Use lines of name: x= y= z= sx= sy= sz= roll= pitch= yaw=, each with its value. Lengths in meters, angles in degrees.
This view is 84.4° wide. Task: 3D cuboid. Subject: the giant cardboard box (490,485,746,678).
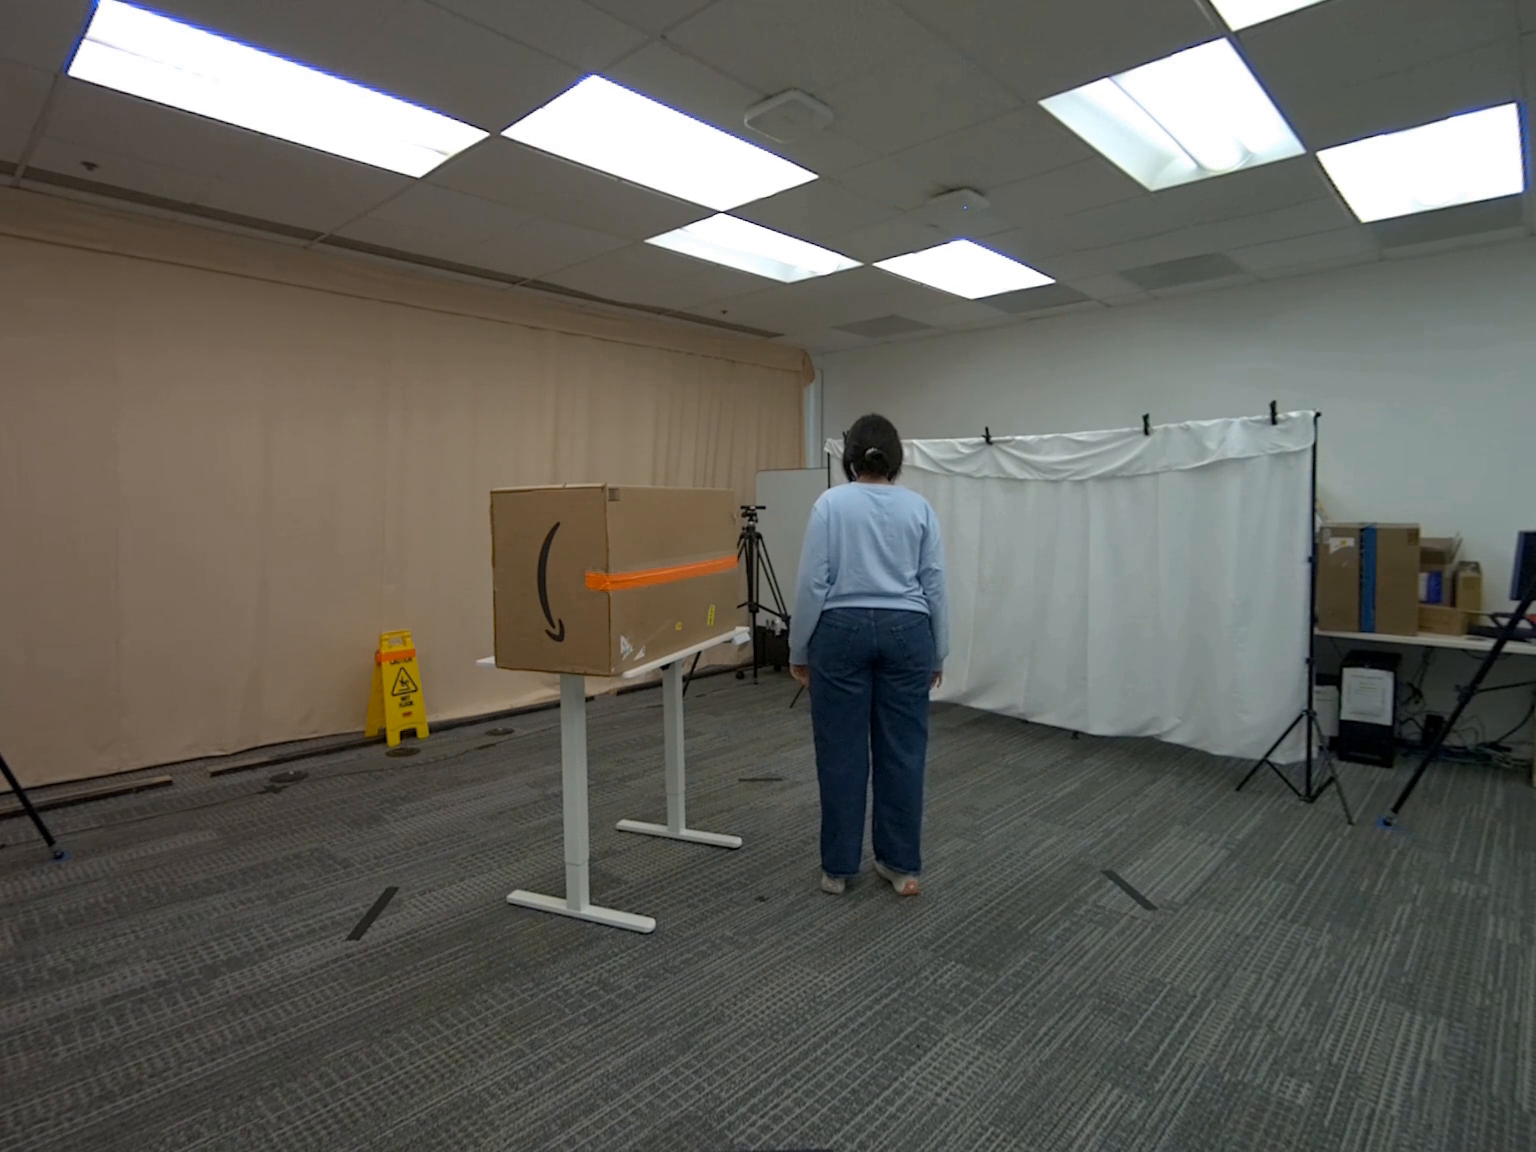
giant cardboard box: x=-0.498 y=-0.026 z=3.053 sx=0.436 sy=0.576 sz=1.005 roll=1 pitch=5 yaw=20
